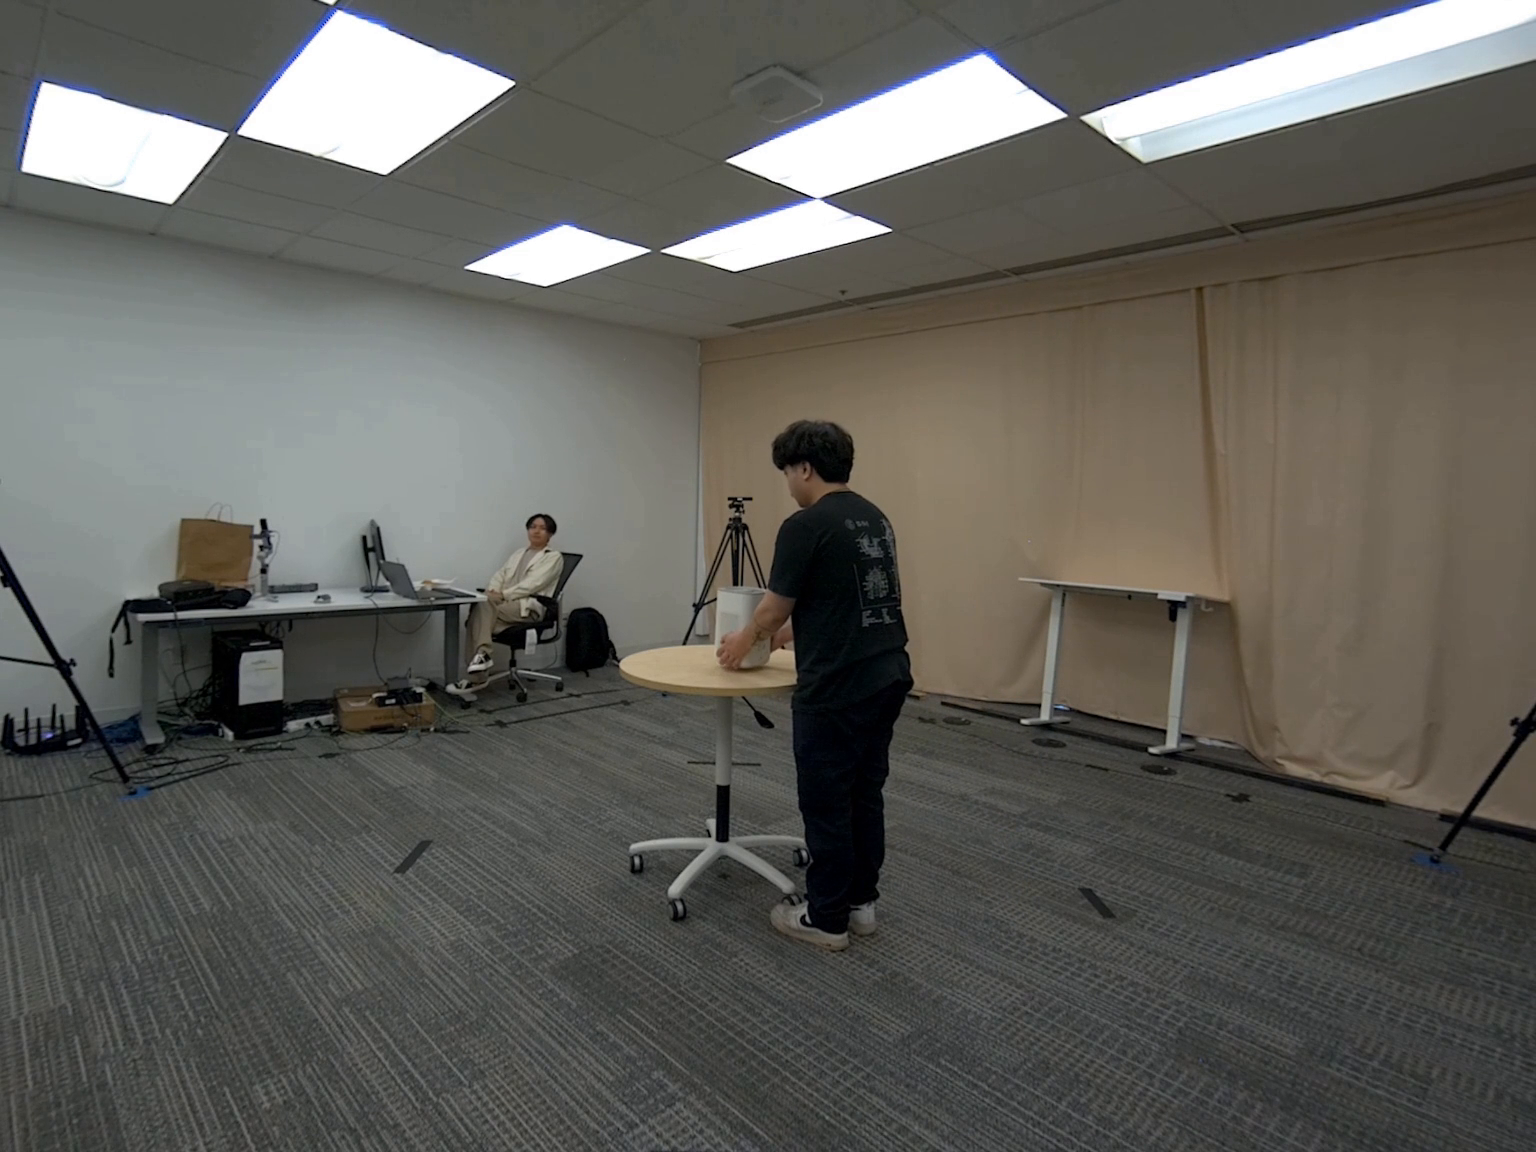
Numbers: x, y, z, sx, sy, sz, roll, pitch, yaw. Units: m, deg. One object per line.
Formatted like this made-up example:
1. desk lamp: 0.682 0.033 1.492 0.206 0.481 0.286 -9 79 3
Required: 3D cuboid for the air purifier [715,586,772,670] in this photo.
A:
1. air purifier: -0.095 0.178 2.979 0.176 0.264 0.167 5 5 36
